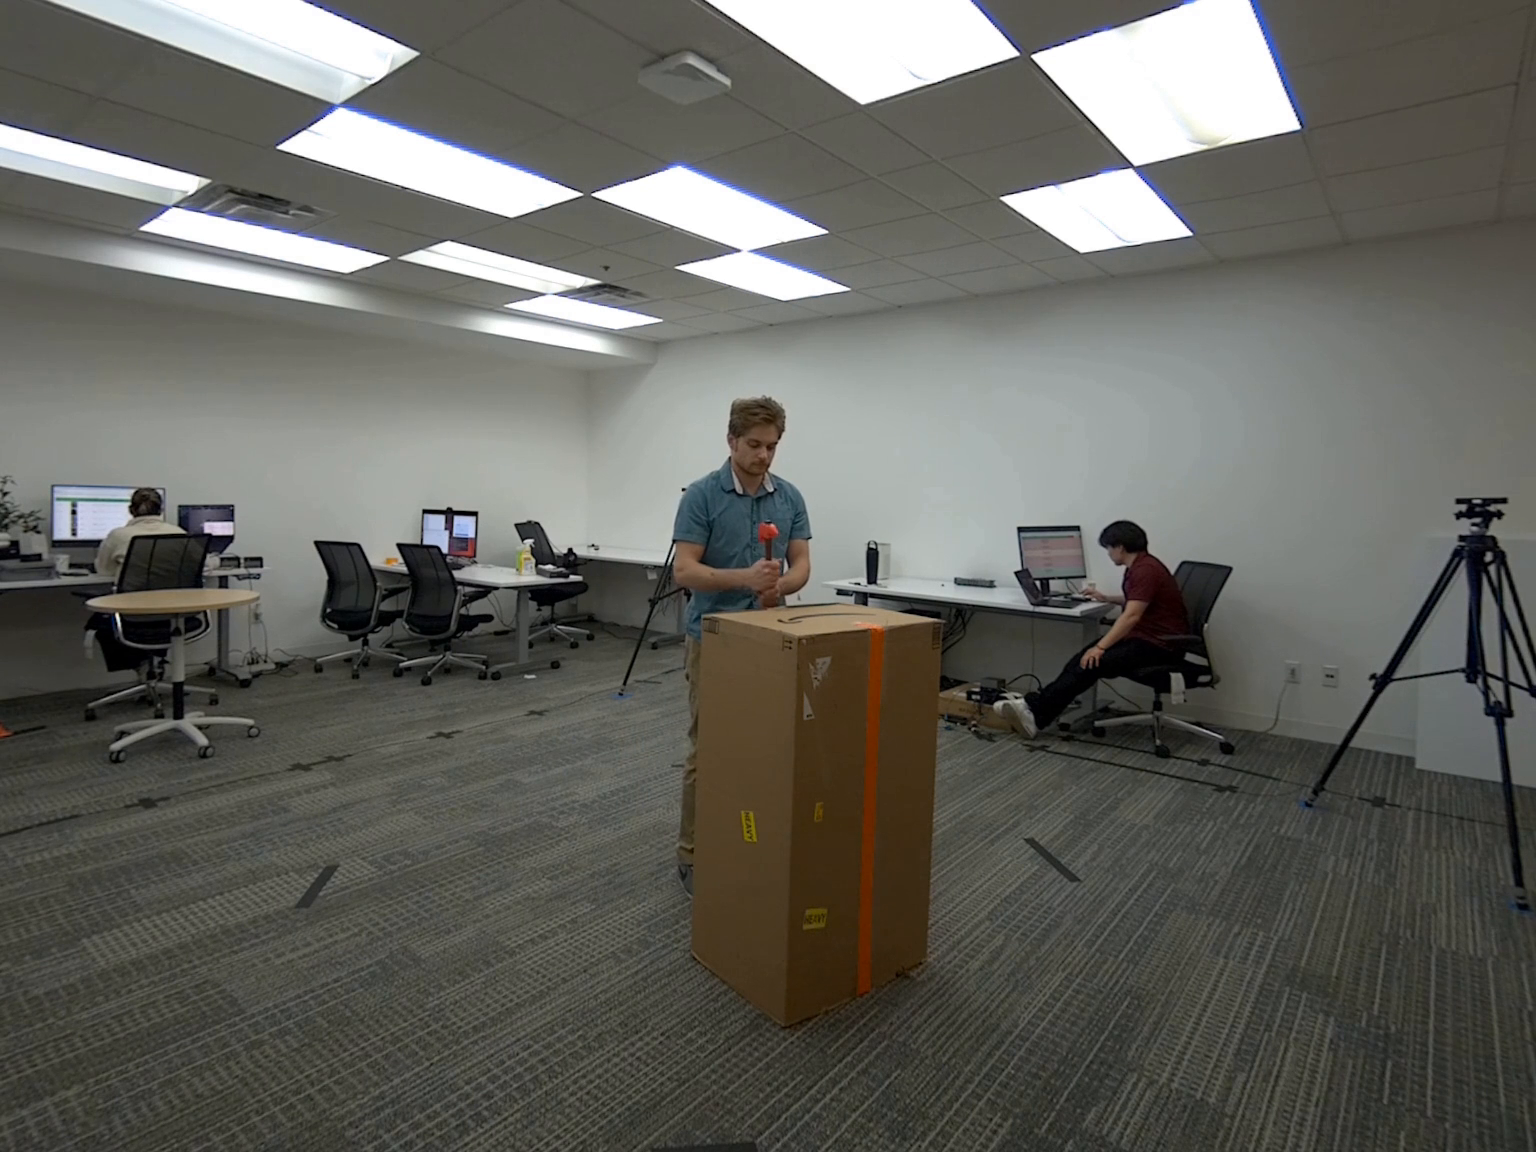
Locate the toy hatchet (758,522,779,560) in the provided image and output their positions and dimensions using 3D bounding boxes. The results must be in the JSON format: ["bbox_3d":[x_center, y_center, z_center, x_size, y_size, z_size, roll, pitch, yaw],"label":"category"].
[{"bbox_3d":[-0.033,-0.064,2.741,0.029,0.265,0.137,-7,35,-28],"label":"toy hatchet"}]
